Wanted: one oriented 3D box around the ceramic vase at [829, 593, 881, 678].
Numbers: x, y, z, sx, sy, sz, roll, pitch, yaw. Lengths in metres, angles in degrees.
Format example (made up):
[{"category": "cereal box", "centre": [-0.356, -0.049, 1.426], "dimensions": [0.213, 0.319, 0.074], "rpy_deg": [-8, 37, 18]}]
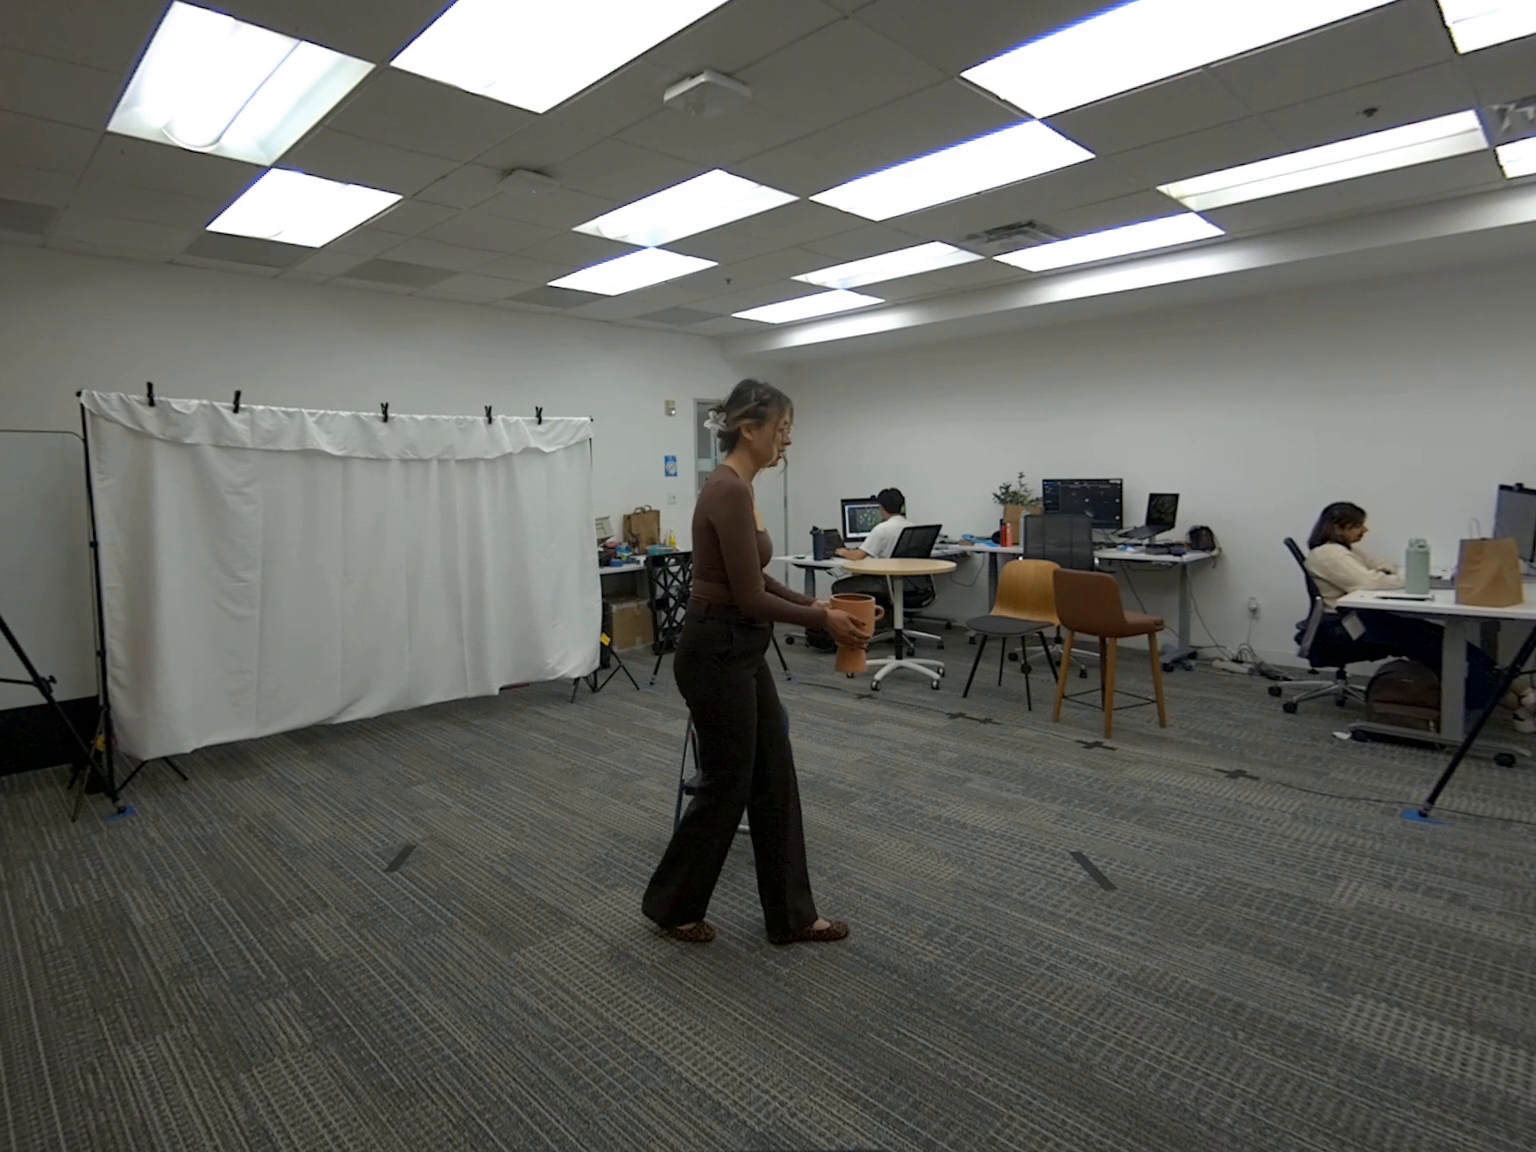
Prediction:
[{"category": "ceramic vase", "centre": [0.251, 0.176, 2.564], "dimensions": [0.163, 0.218, 0.132], "rpy_deg": [6, 9, 31]}]
